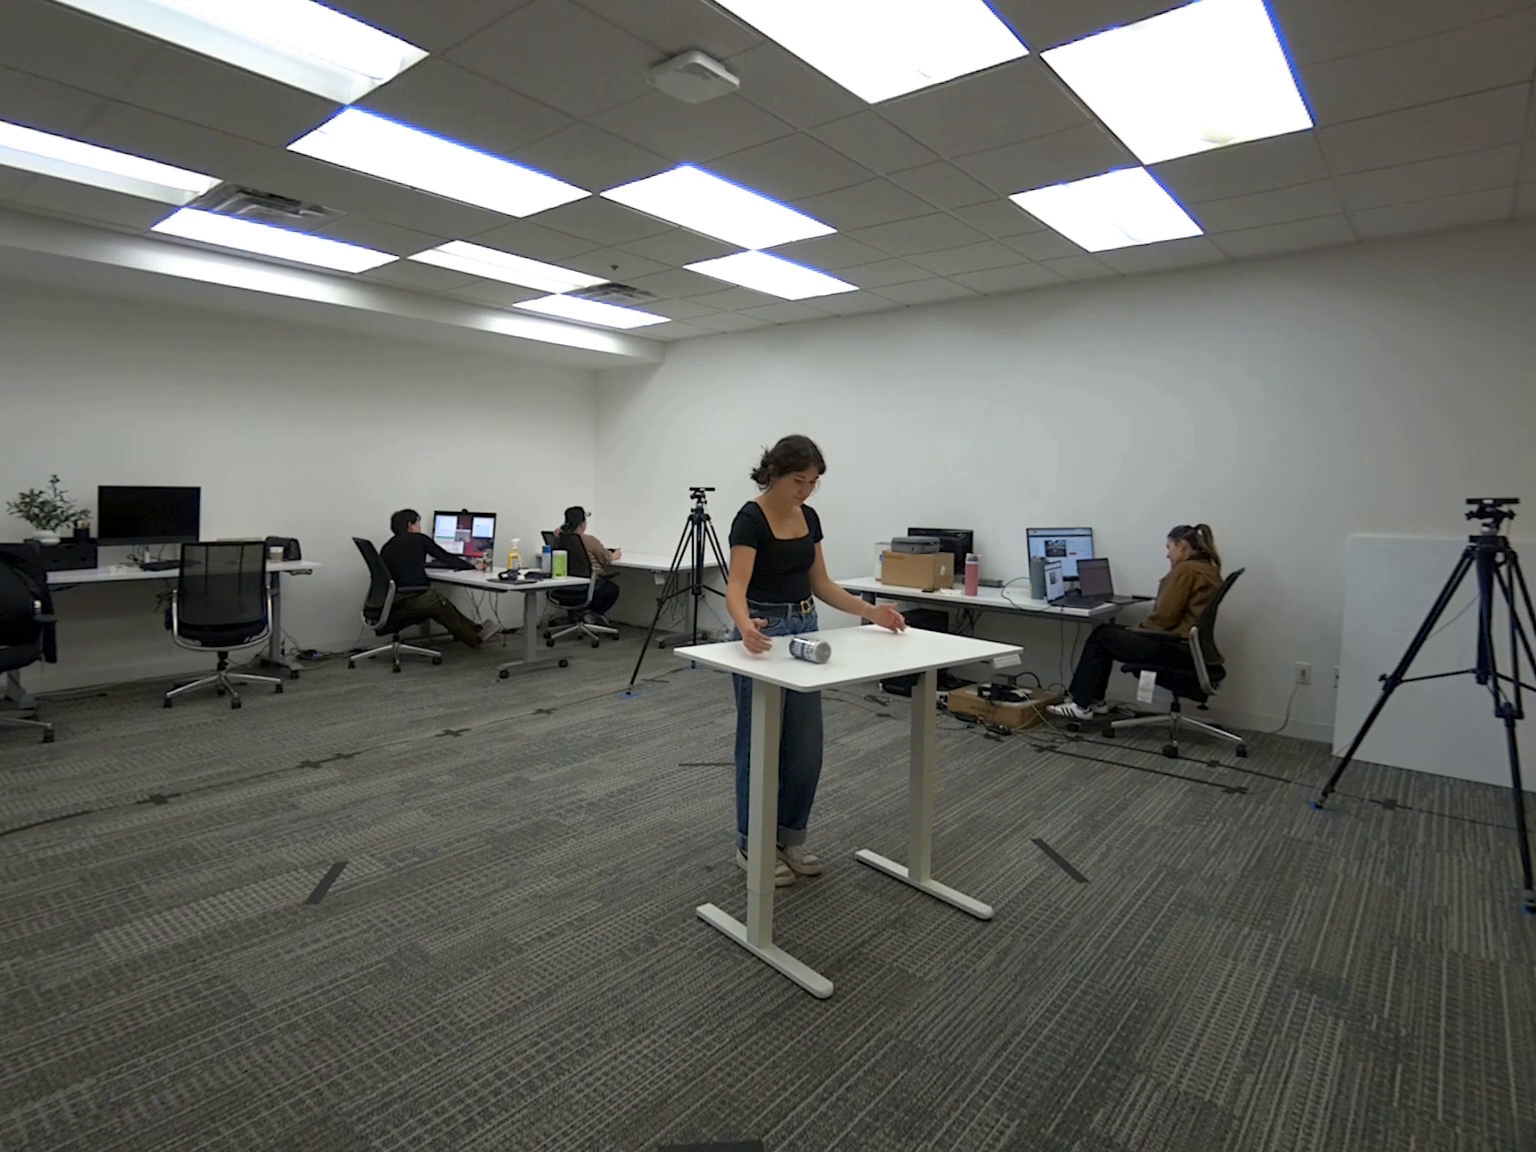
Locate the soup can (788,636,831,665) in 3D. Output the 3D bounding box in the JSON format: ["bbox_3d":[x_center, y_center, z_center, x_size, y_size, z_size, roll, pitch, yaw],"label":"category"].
[{"bbox_3d":[0.116,0.216,2.534,0.065,0.067,0.125,-1,5,-30],"label":"soup can"}]
